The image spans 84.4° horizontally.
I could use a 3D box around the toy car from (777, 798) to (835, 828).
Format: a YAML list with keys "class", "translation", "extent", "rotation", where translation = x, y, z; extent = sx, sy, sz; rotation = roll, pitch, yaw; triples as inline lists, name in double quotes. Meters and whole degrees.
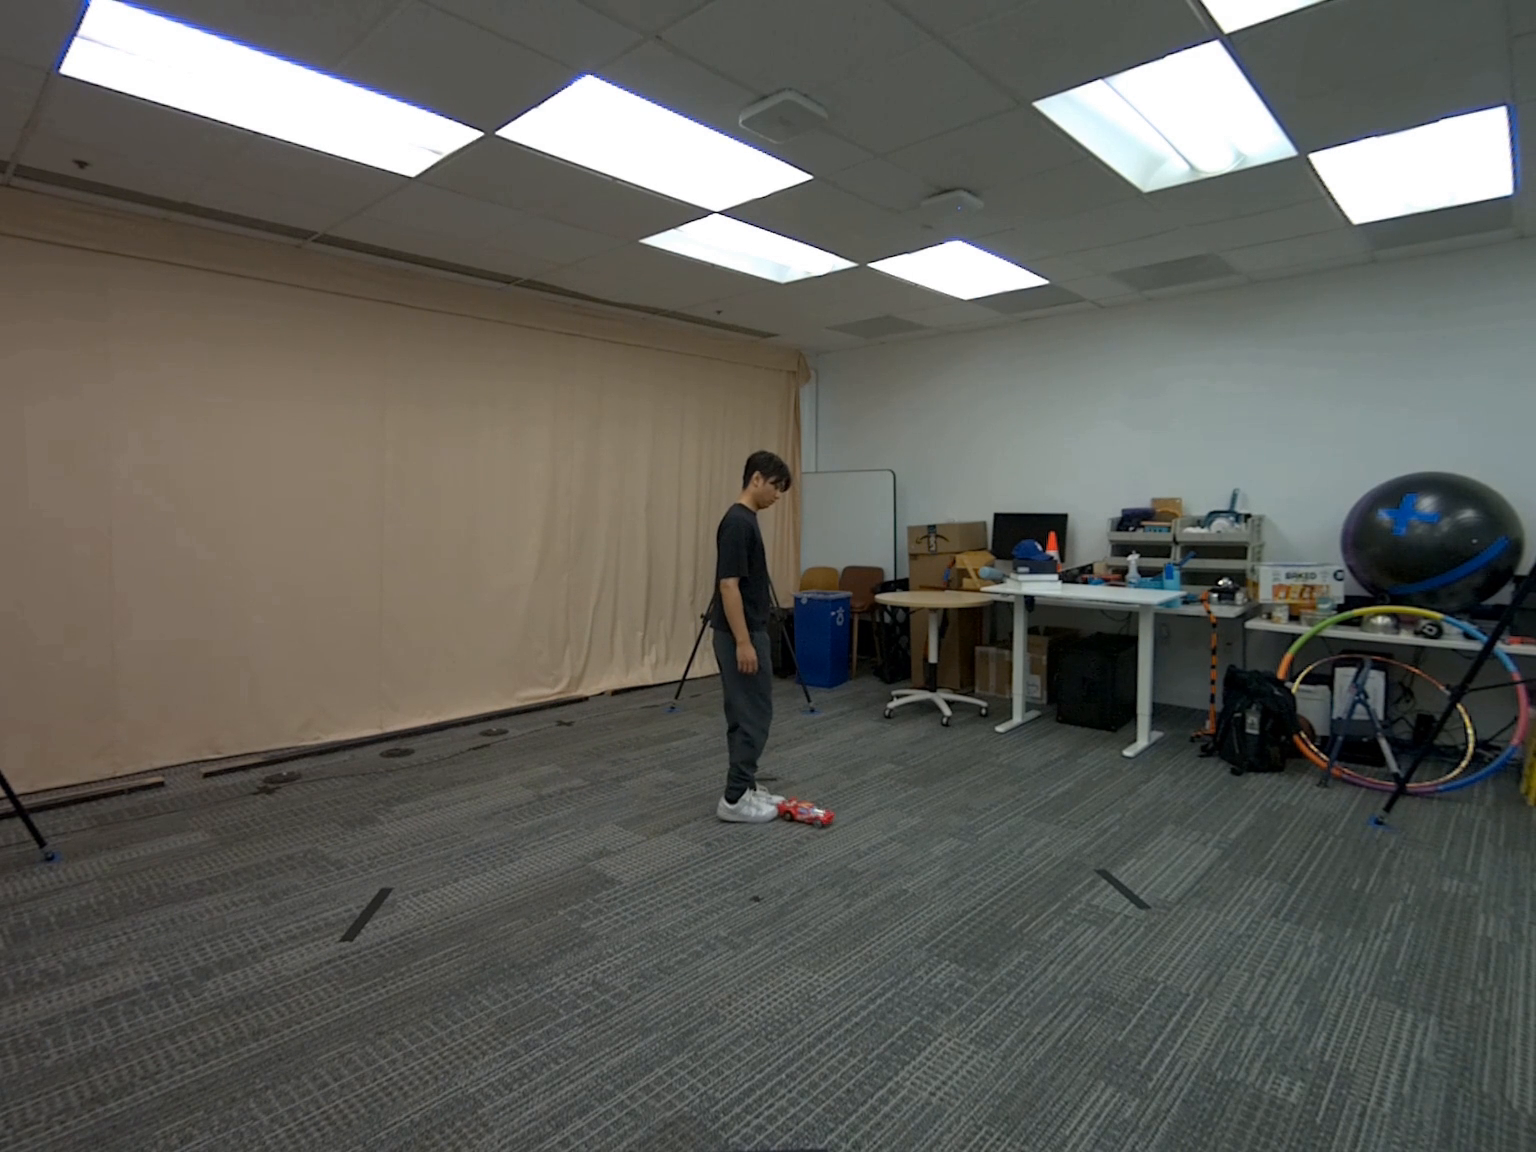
- class: "toy car"
  translation: [0.166, 1.052, 3.732]
  extent: [0.263, 0.083, 0.126]
  rotation: [14, 11, 32]
